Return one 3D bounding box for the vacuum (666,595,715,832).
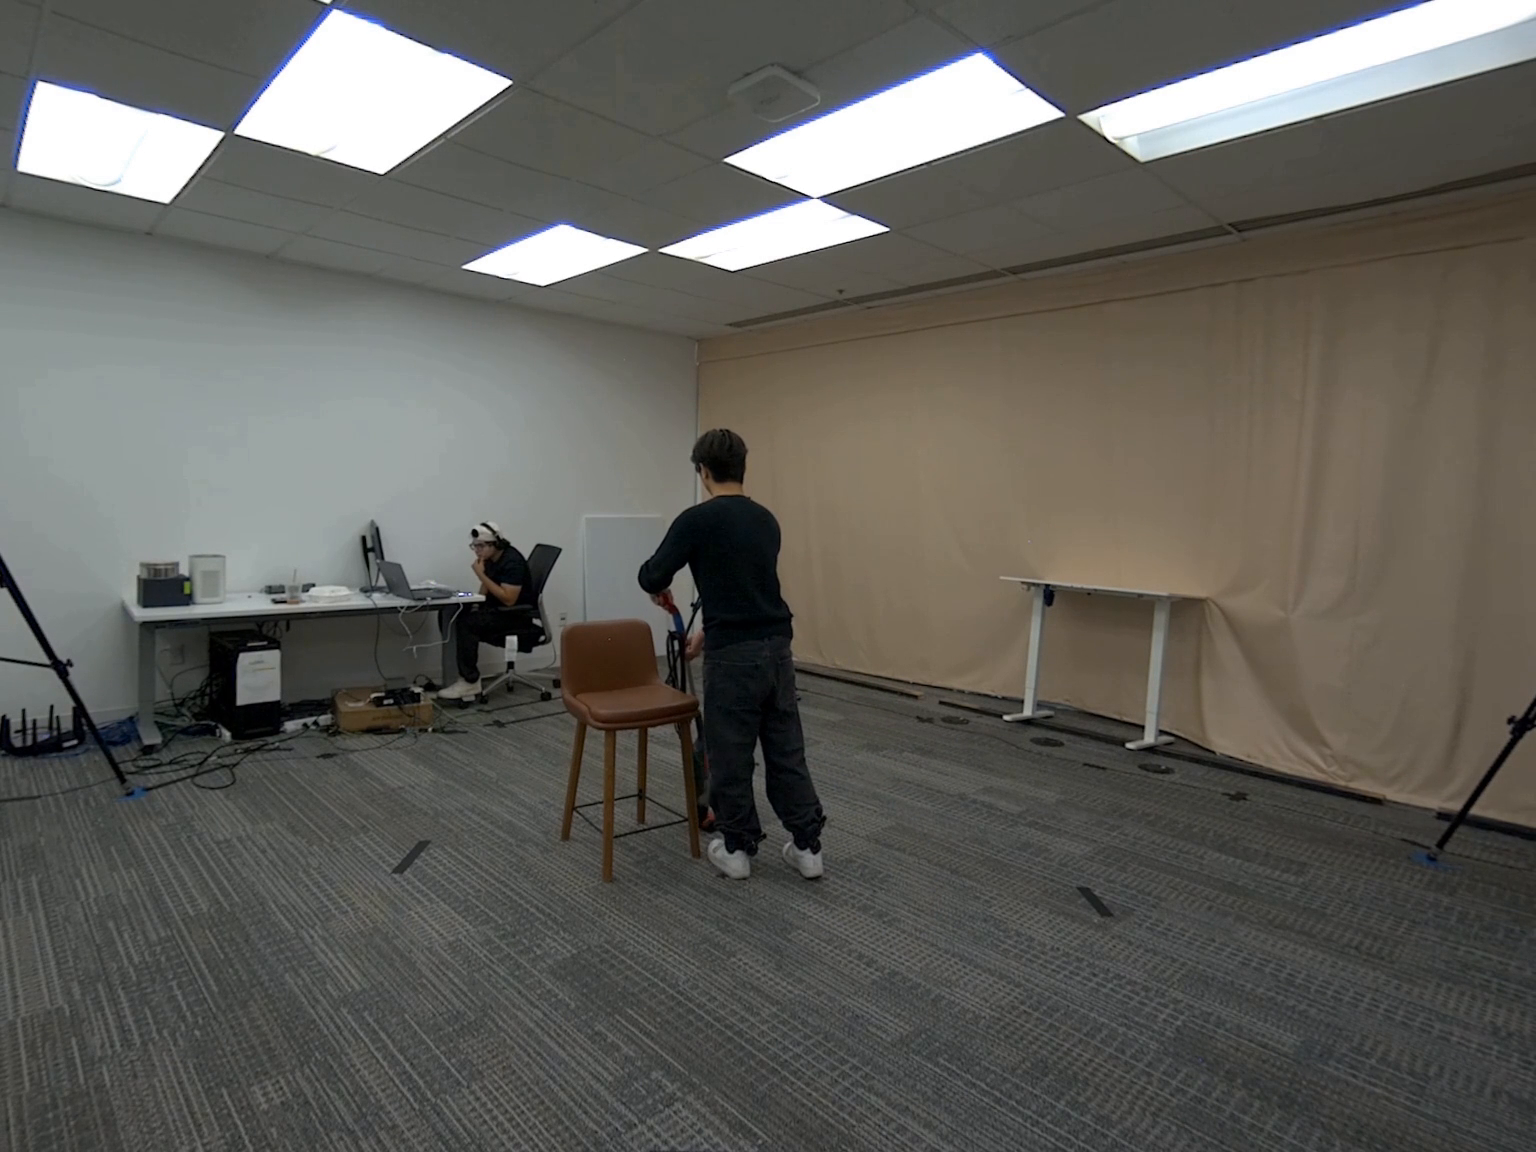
[{"bbox_3d":[-0.325,0.578,3.463,0.142,1.039,0.259,-17,14,-39],"label":"vacuum"}]
